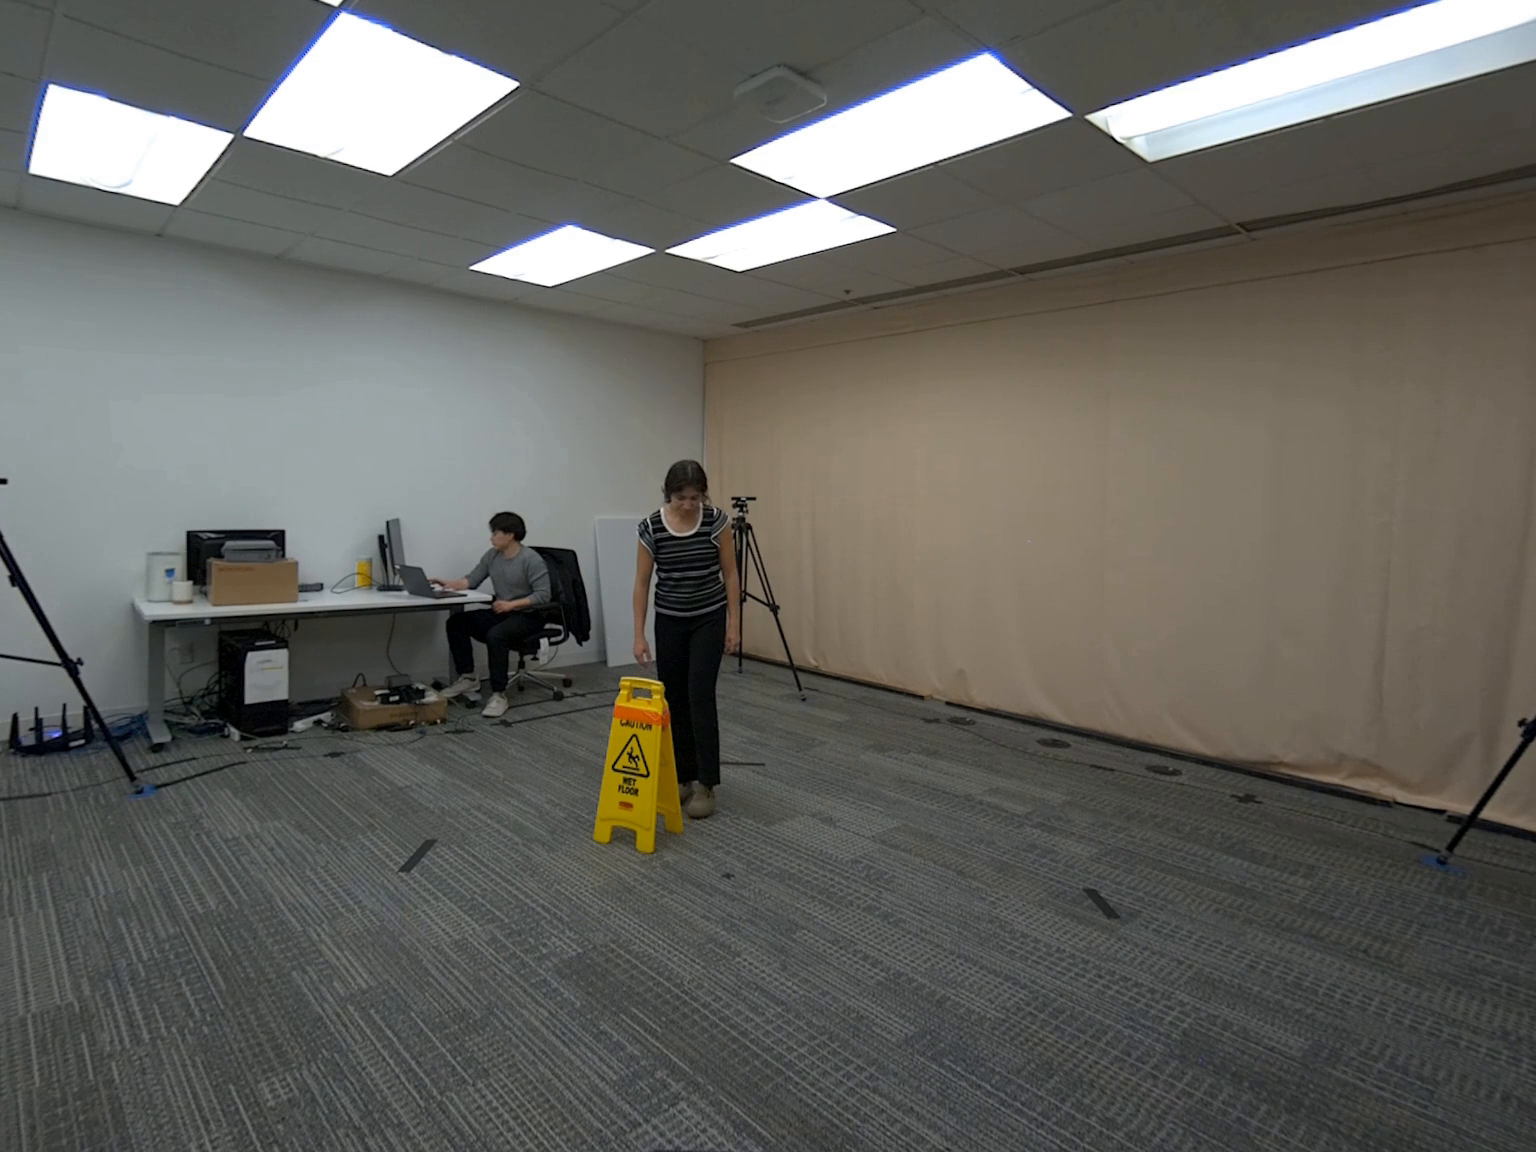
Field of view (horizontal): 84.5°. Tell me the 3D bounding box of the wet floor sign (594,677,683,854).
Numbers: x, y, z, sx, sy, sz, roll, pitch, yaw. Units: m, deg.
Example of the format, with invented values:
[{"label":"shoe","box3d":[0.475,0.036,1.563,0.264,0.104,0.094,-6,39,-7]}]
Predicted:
[{"label":"wet floor sign","box3d":[-0.535,0.746,3.444,0.287,0.645,0.285,4,3,24]}]
